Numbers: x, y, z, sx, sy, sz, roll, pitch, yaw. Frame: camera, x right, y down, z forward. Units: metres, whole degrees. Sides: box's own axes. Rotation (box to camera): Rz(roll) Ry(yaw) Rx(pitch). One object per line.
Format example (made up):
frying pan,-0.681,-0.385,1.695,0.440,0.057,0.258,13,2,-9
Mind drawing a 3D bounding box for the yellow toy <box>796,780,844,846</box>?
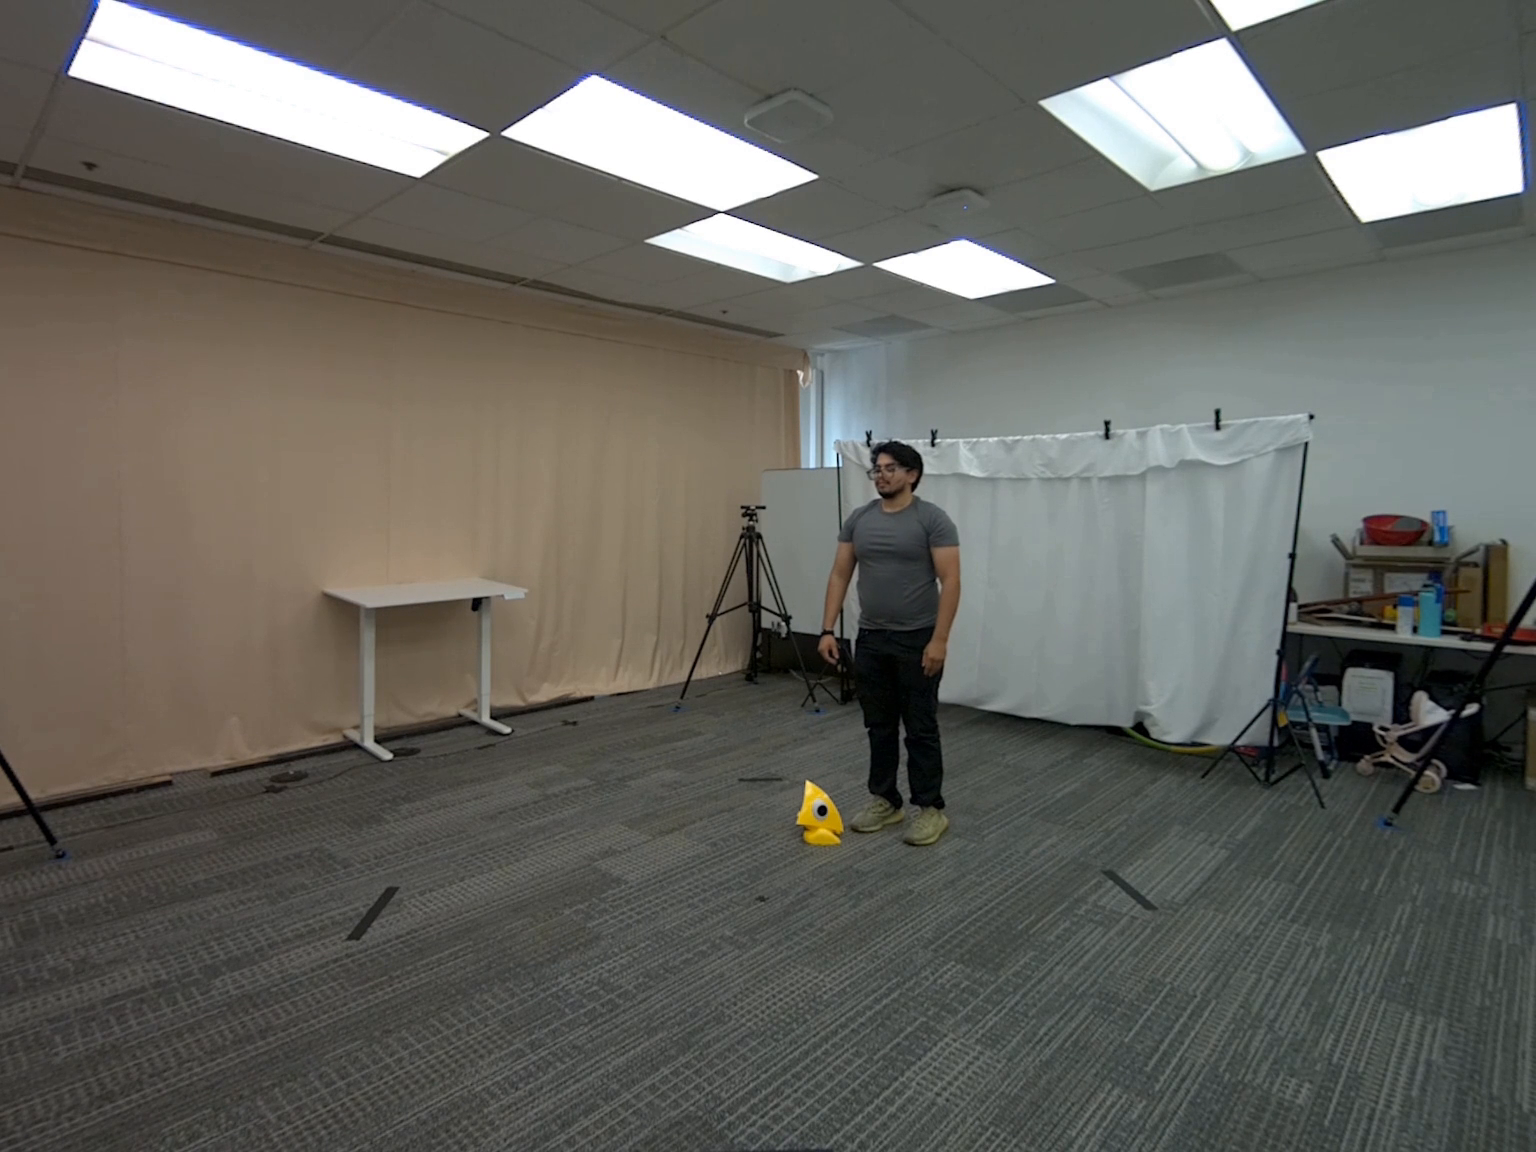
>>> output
yellow toy,0.228,0.982,3.552,0.195,0.230,0.203,1,3,10
